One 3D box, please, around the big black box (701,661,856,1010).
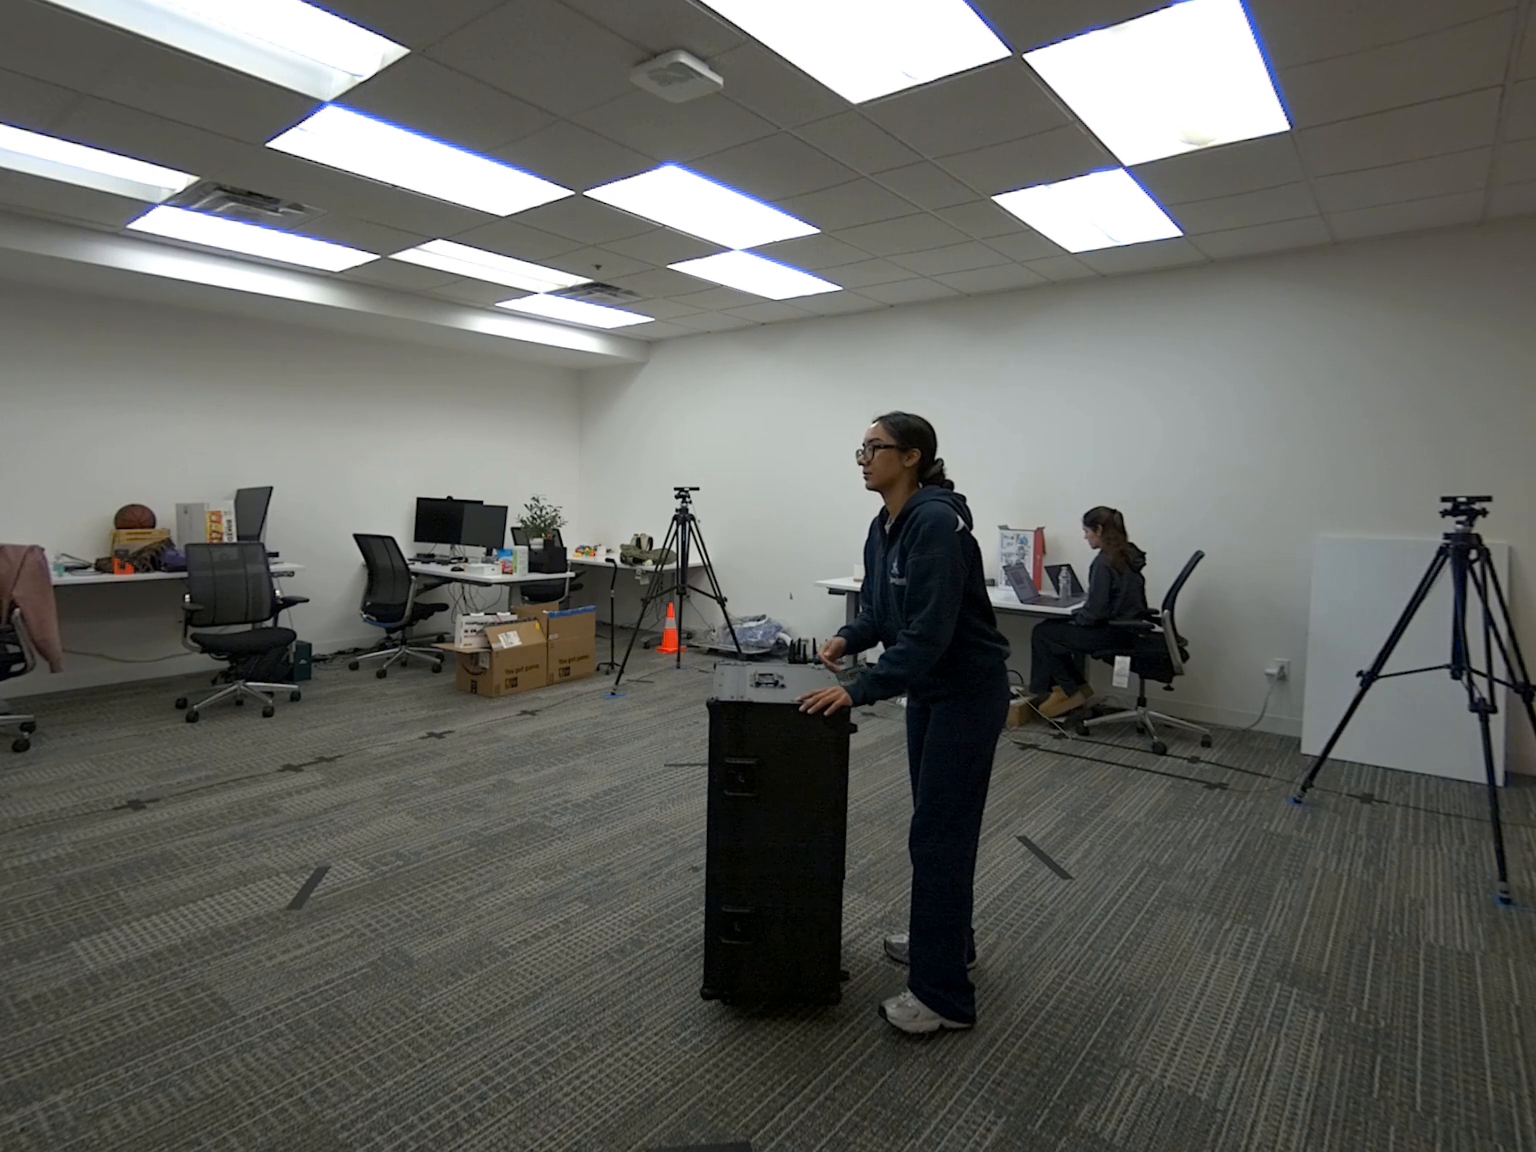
[{"bbox_3d":[0.012,0.712,2.409,0.397,0.859,0.522,1,4,1],"label":"big black box"}]
